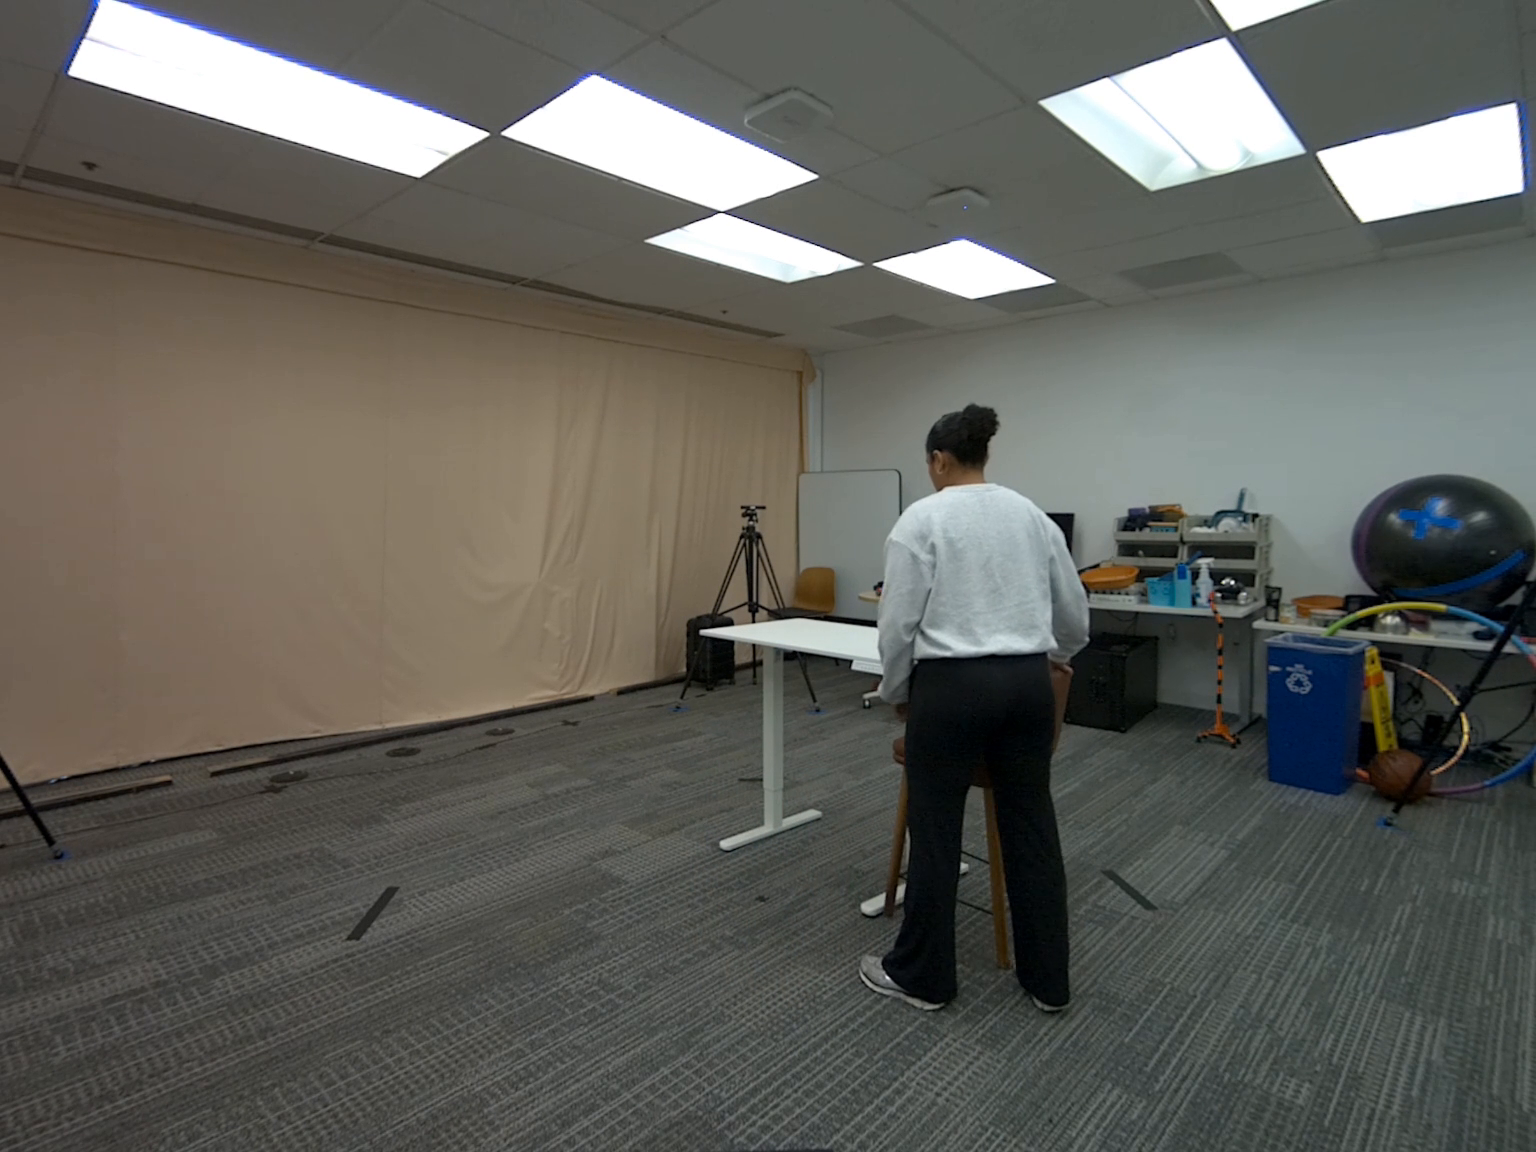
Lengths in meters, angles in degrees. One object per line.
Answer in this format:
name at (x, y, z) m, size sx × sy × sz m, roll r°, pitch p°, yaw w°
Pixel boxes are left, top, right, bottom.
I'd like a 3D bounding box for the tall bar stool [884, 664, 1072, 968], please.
tall bar stool at (0.702, 0.718, 2.780) m, size 0.442 × 0.887 × 0.484 m, roll -3°, pitch 7°, yaw -42°
